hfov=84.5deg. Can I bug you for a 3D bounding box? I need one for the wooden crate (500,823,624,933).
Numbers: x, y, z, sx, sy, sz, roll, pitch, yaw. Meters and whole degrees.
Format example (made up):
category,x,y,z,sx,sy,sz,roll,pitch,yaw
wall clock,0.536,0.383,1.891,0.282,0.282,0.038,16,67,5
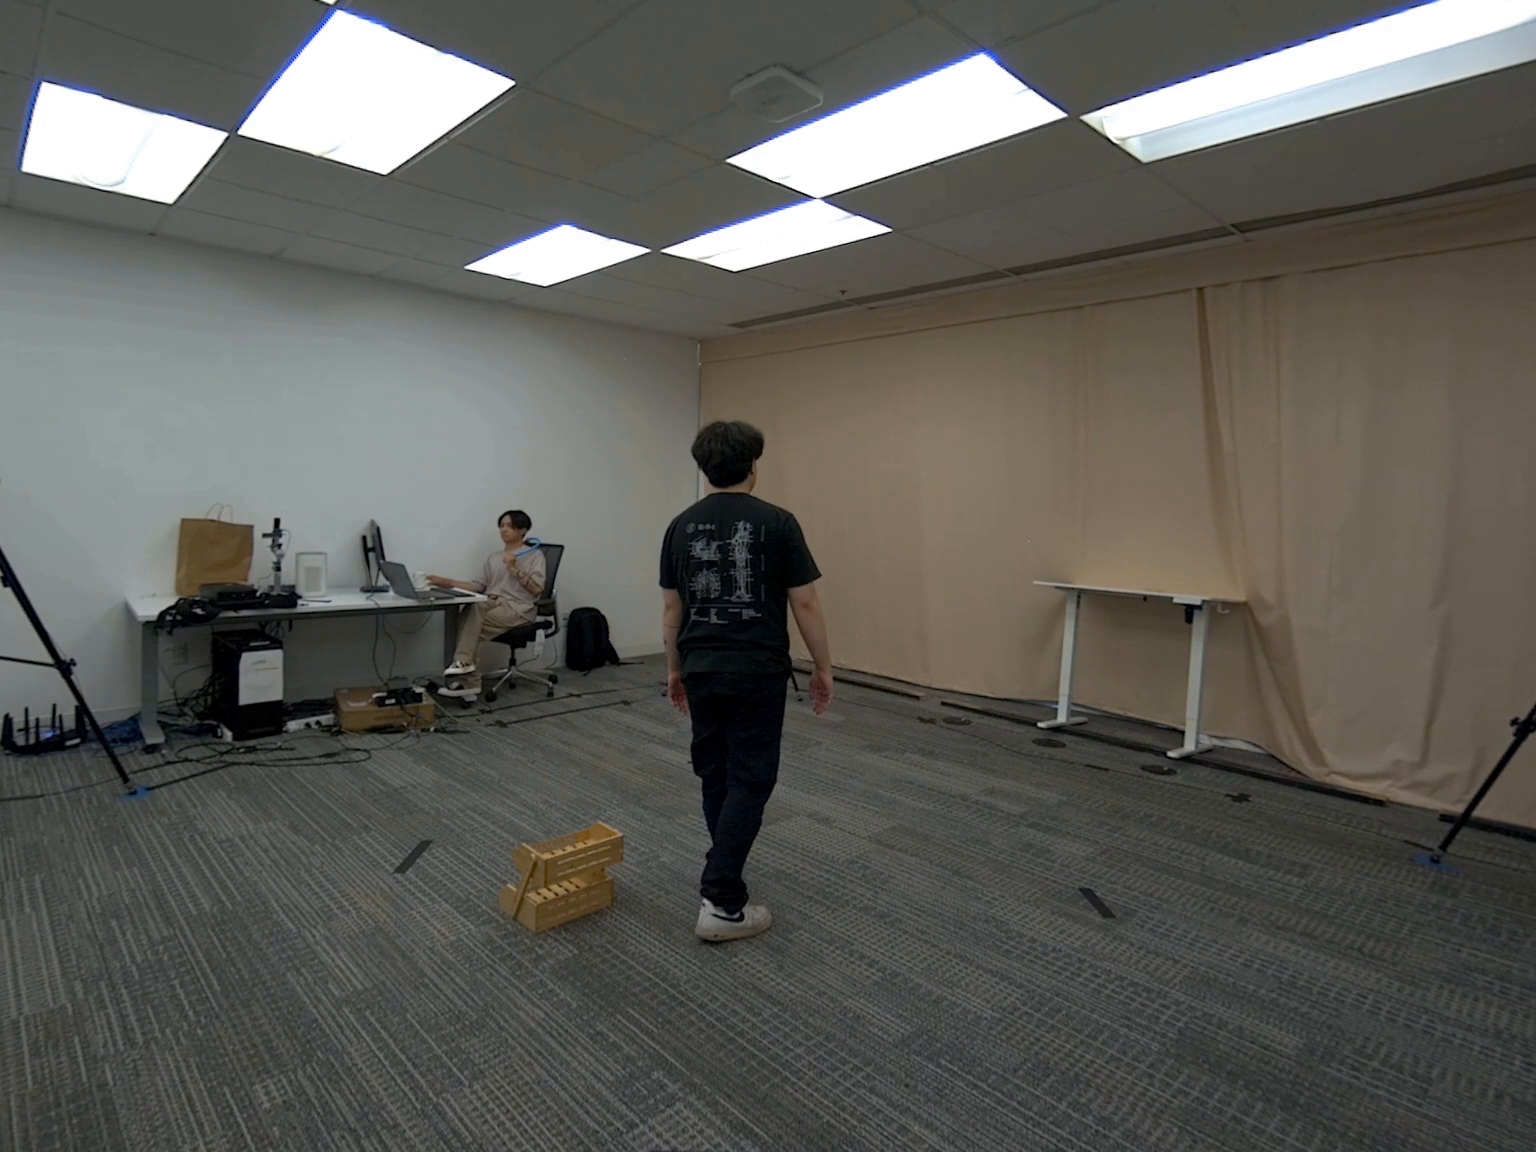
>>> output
category,x,y,z,sx,sy,sz,roll,pitch,yaw
wooden crate,-0.701,0.981,2.833,0.317,0.272,0.310,-3,7,-44
